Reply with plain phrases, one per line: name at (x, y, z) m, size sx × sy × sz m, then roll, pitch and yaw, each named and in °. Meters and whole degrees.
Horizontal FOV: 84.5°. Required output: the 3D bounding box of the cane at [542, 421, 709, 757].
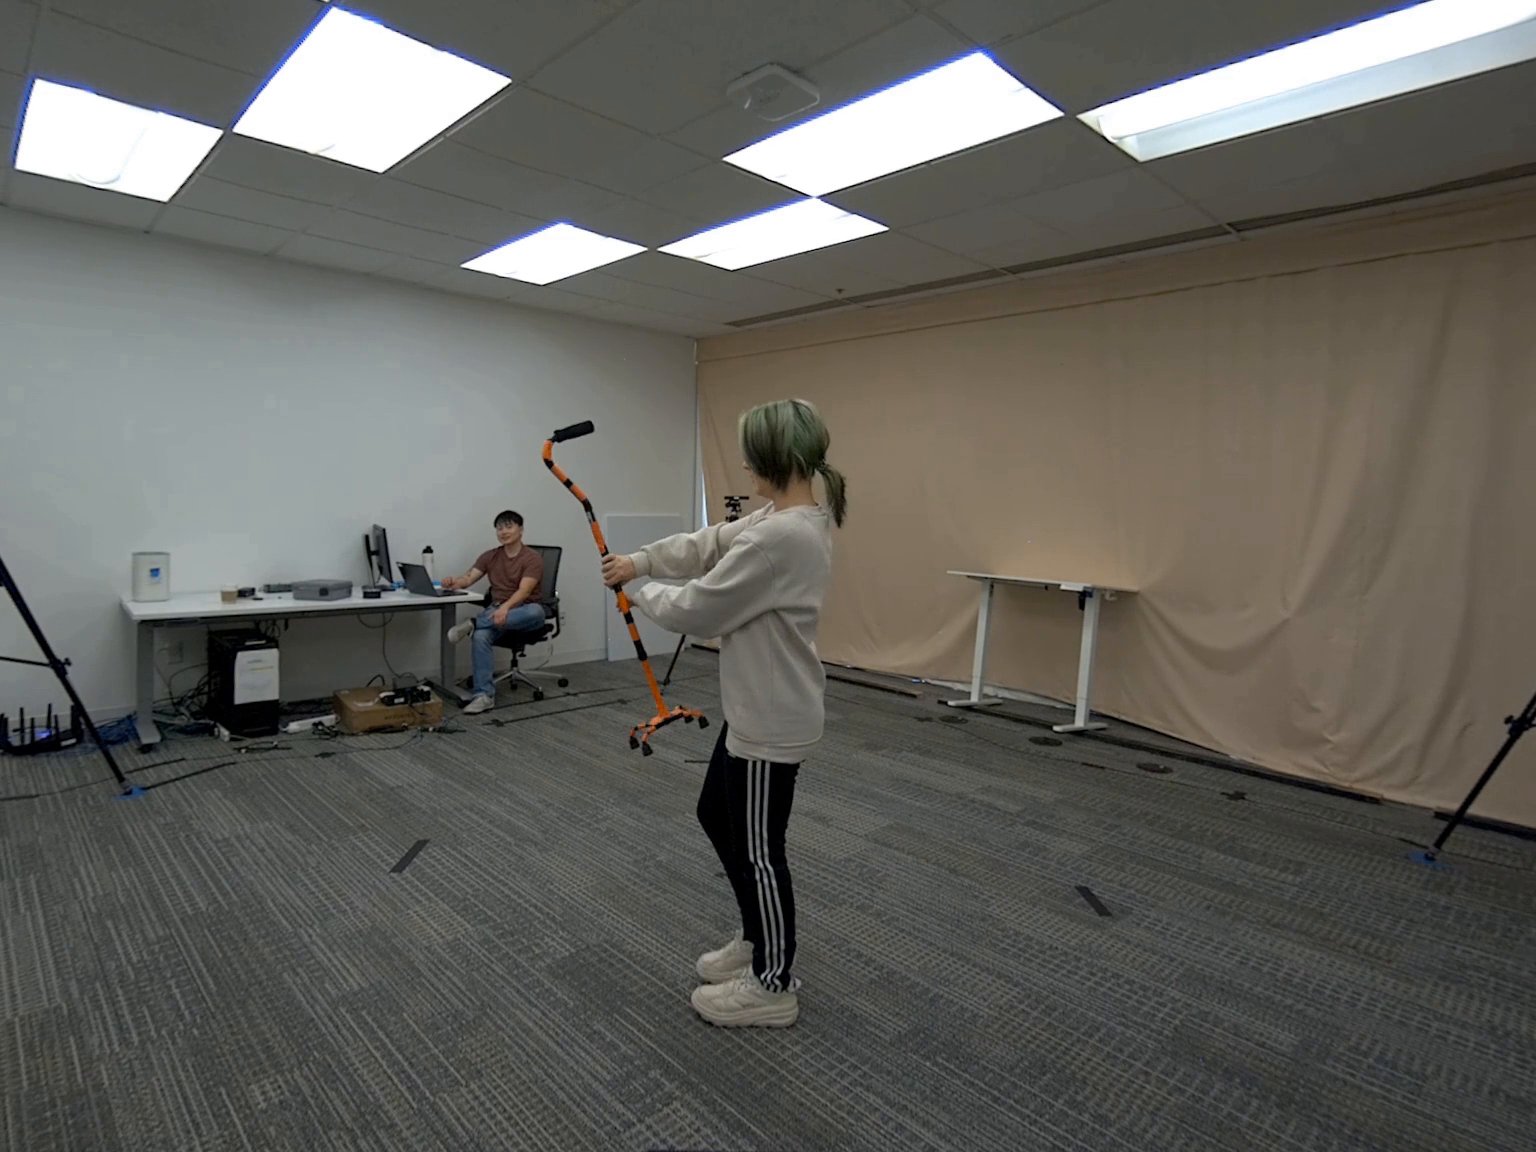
cane at (-0.435, 0.027, 2.335) m, size 0.204 × 0.903 × 0.154 m, roll -22°, pitch 7°, yaw -28°
